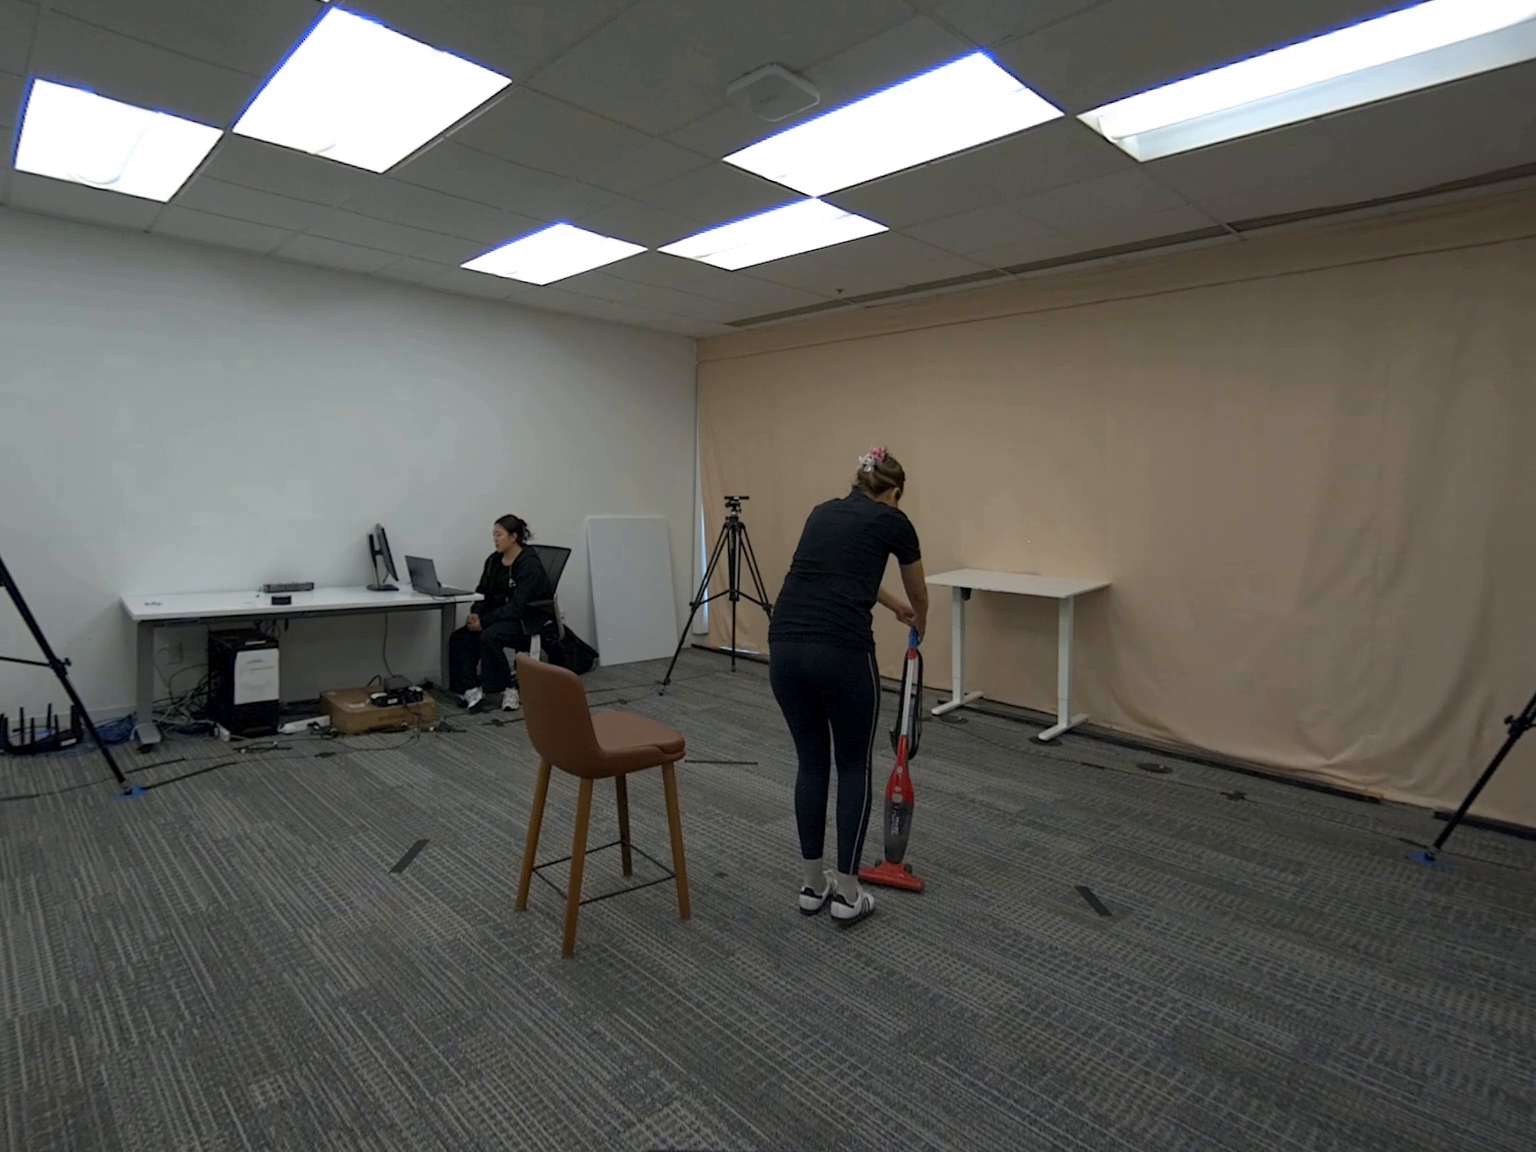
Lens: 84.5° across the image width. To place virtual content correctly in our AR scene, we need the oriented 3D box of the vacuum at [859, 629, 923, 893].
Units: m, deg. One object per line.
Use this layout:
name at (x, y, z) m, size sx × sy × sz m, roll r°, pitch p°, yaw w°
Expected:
vacuum at (0.531, 0.627, 3.264) m, size 0.257 × 1.061 × 0.139 m, roll 0°, pitch -23°, yaw 26°
